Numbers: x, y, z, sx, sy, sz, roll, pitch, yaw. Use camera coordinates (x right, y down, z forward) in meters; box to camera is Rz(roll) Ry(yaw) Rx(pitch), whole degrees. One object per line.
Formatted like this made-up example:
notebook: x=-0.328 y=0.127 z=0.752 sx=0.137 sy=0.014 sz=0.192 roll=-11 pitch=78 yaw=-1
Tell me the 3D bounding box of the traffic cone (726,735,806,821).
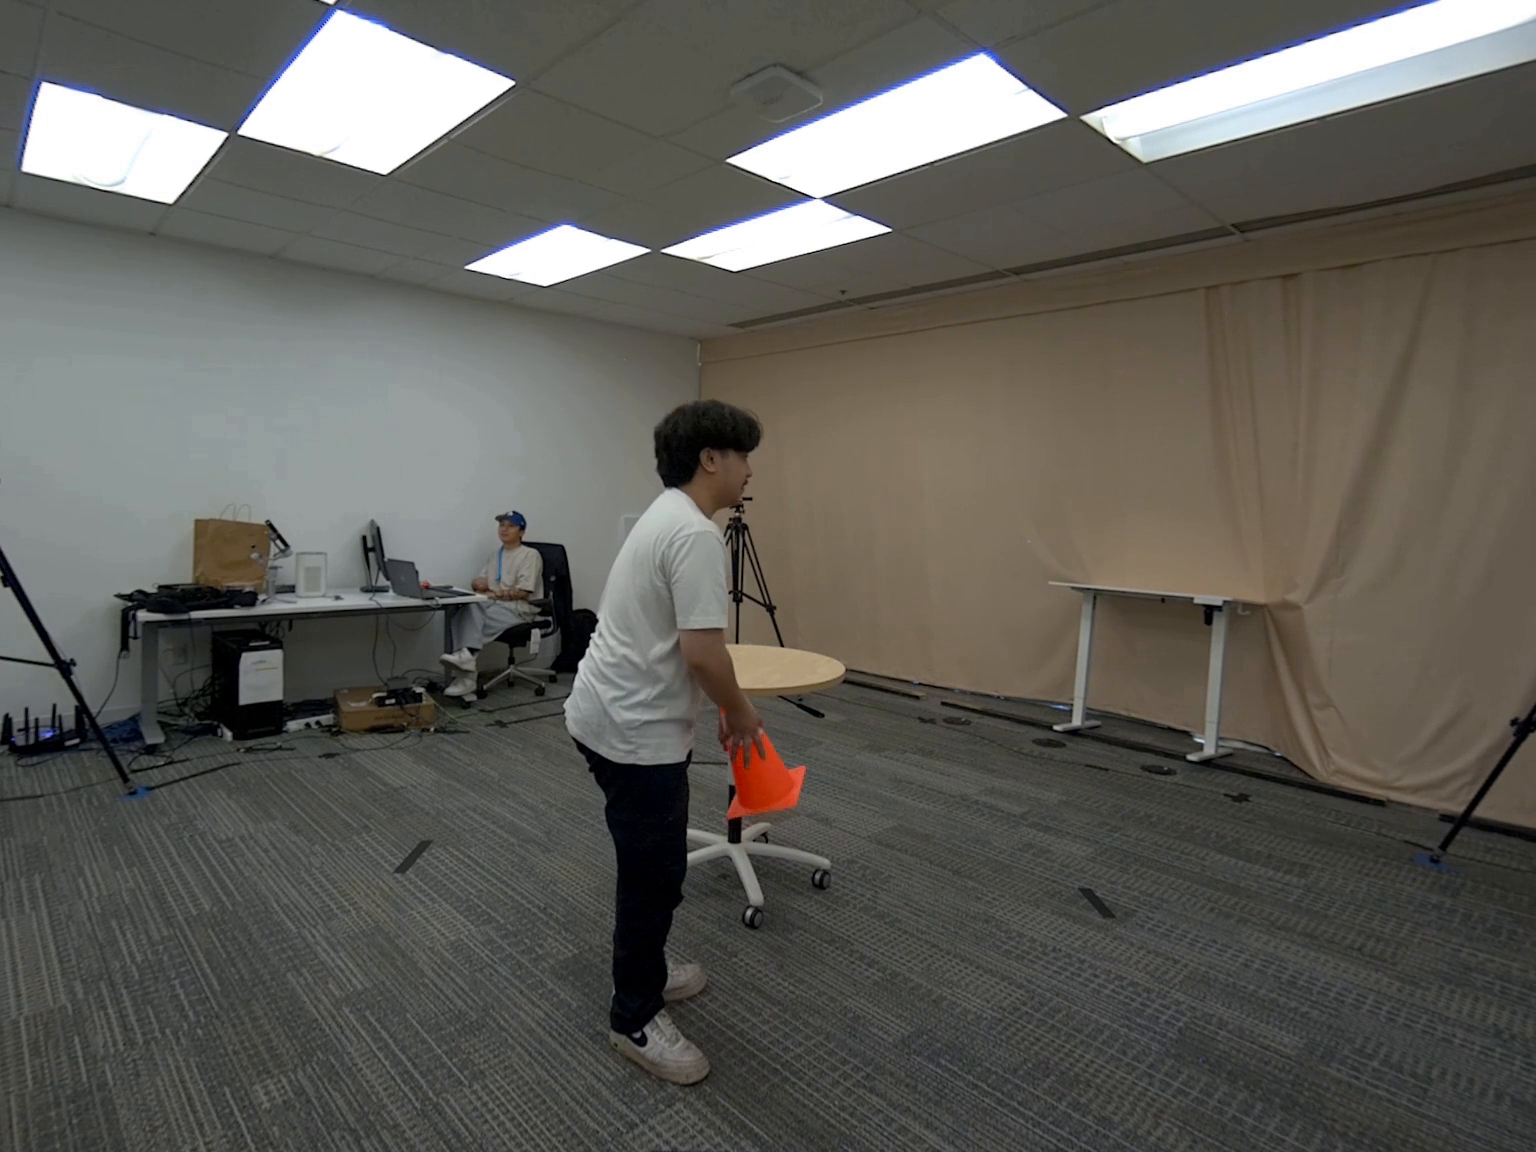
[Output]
traffic cone: x=-0.077 y=0.414 z=2.213 sx=0.205 sy=0.380 sz=0.205 roll=-15 pitch=10 yaw=17
